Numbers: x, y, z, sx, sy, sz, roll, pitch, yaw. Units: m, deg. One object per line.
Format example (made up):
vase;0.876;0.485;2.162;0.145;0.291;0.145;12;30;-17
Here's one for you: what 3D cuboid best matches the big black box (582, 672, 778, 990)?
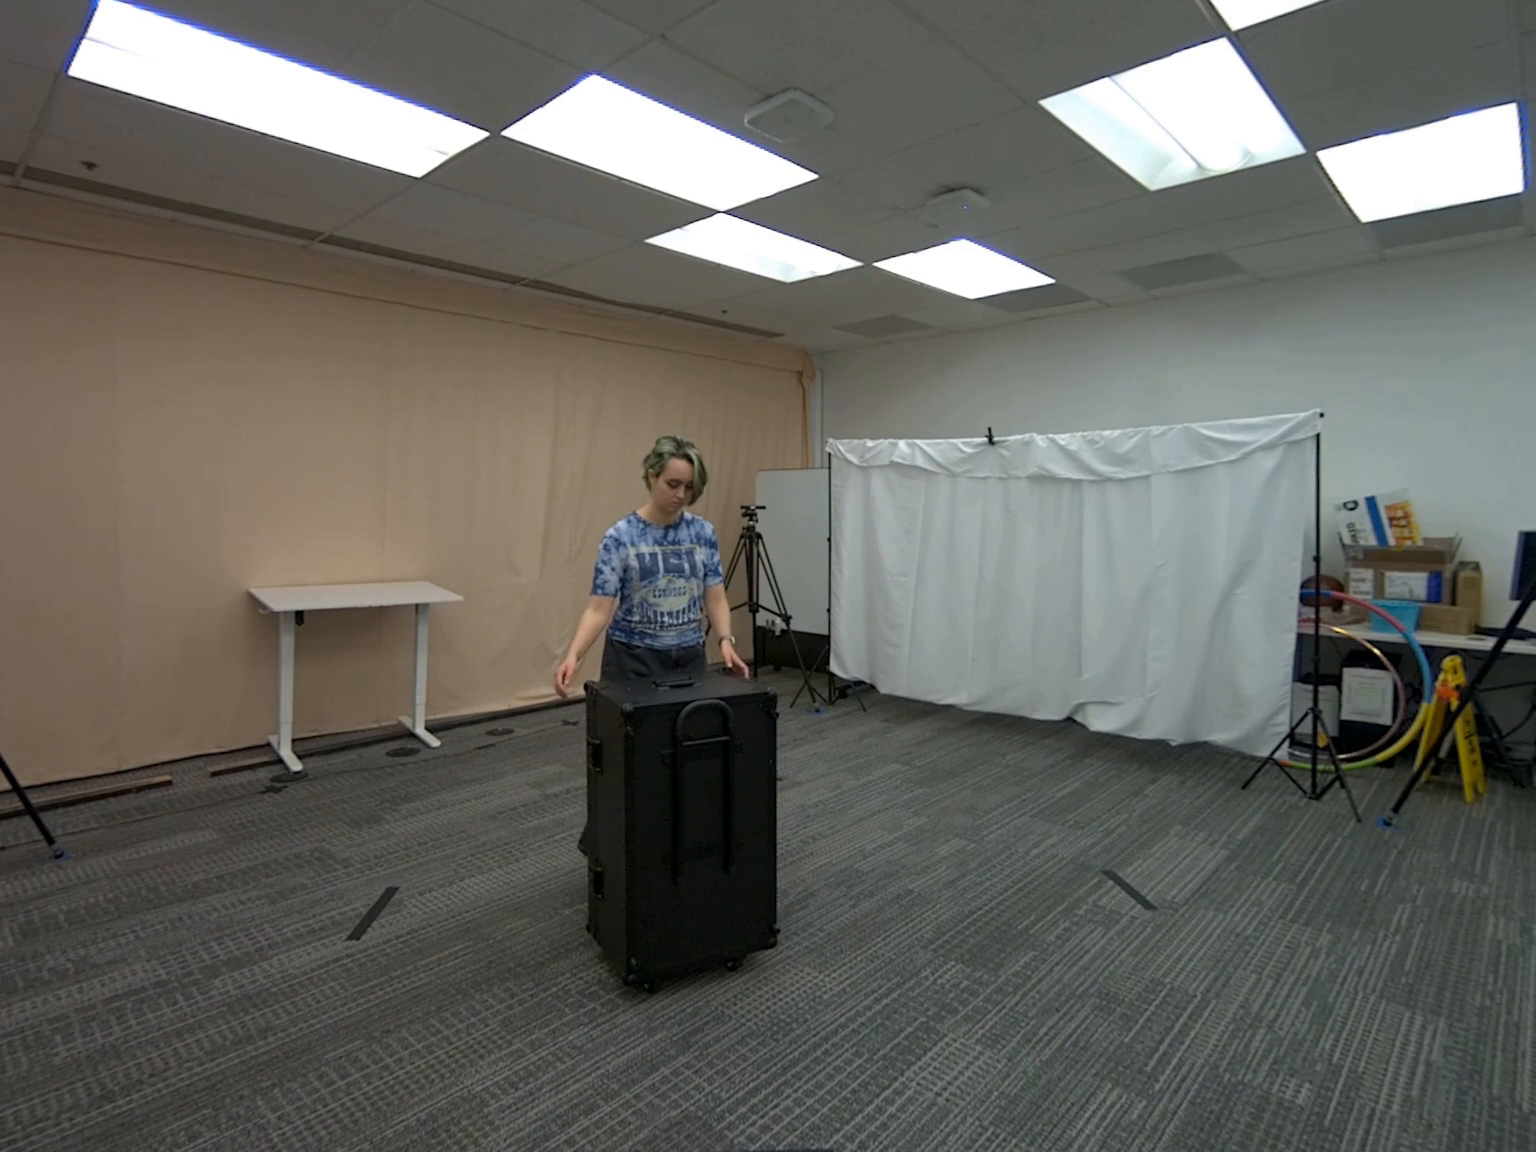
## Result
big black box;-0.251;0.761;2.549;0.508;0.859;0.408;-2;6;-28
